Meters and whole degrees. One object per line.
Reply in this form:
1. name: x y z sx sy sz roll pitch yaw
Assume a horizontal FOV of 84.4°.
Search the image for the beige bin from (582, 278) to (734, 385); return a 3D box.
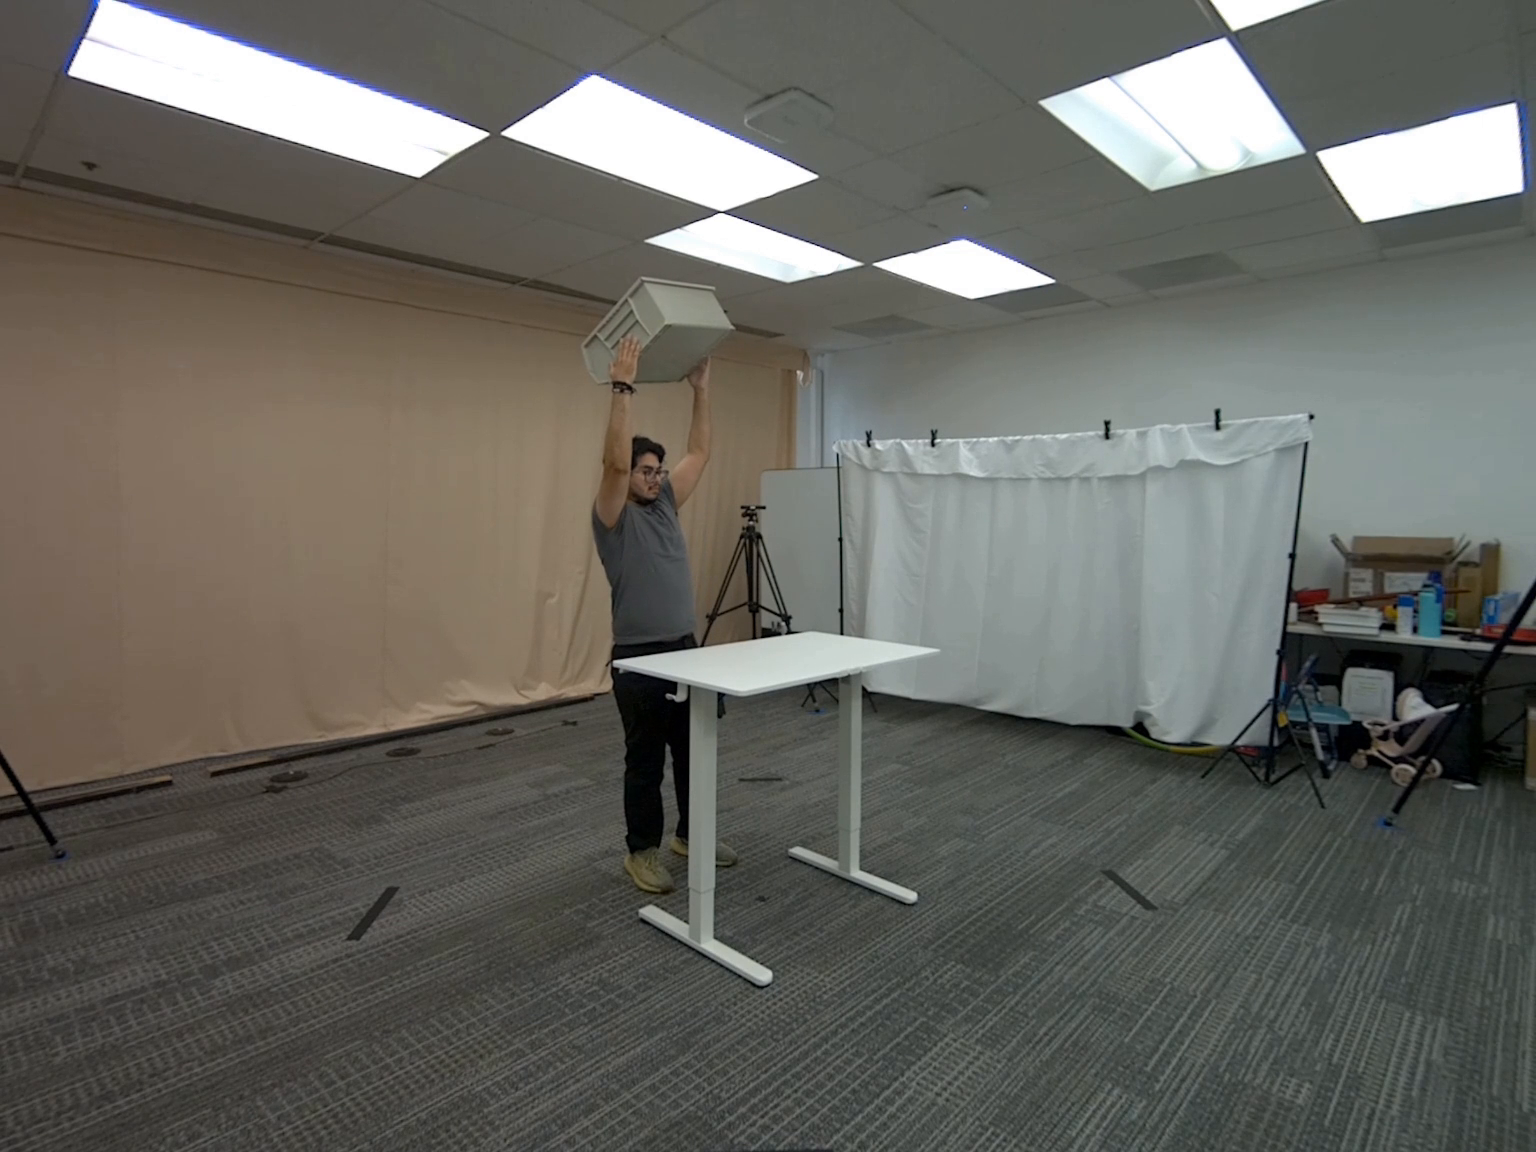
1. beige bin: -0.381 -0.832 2.964 0.383 0.191 0.412 -34 -8 33
